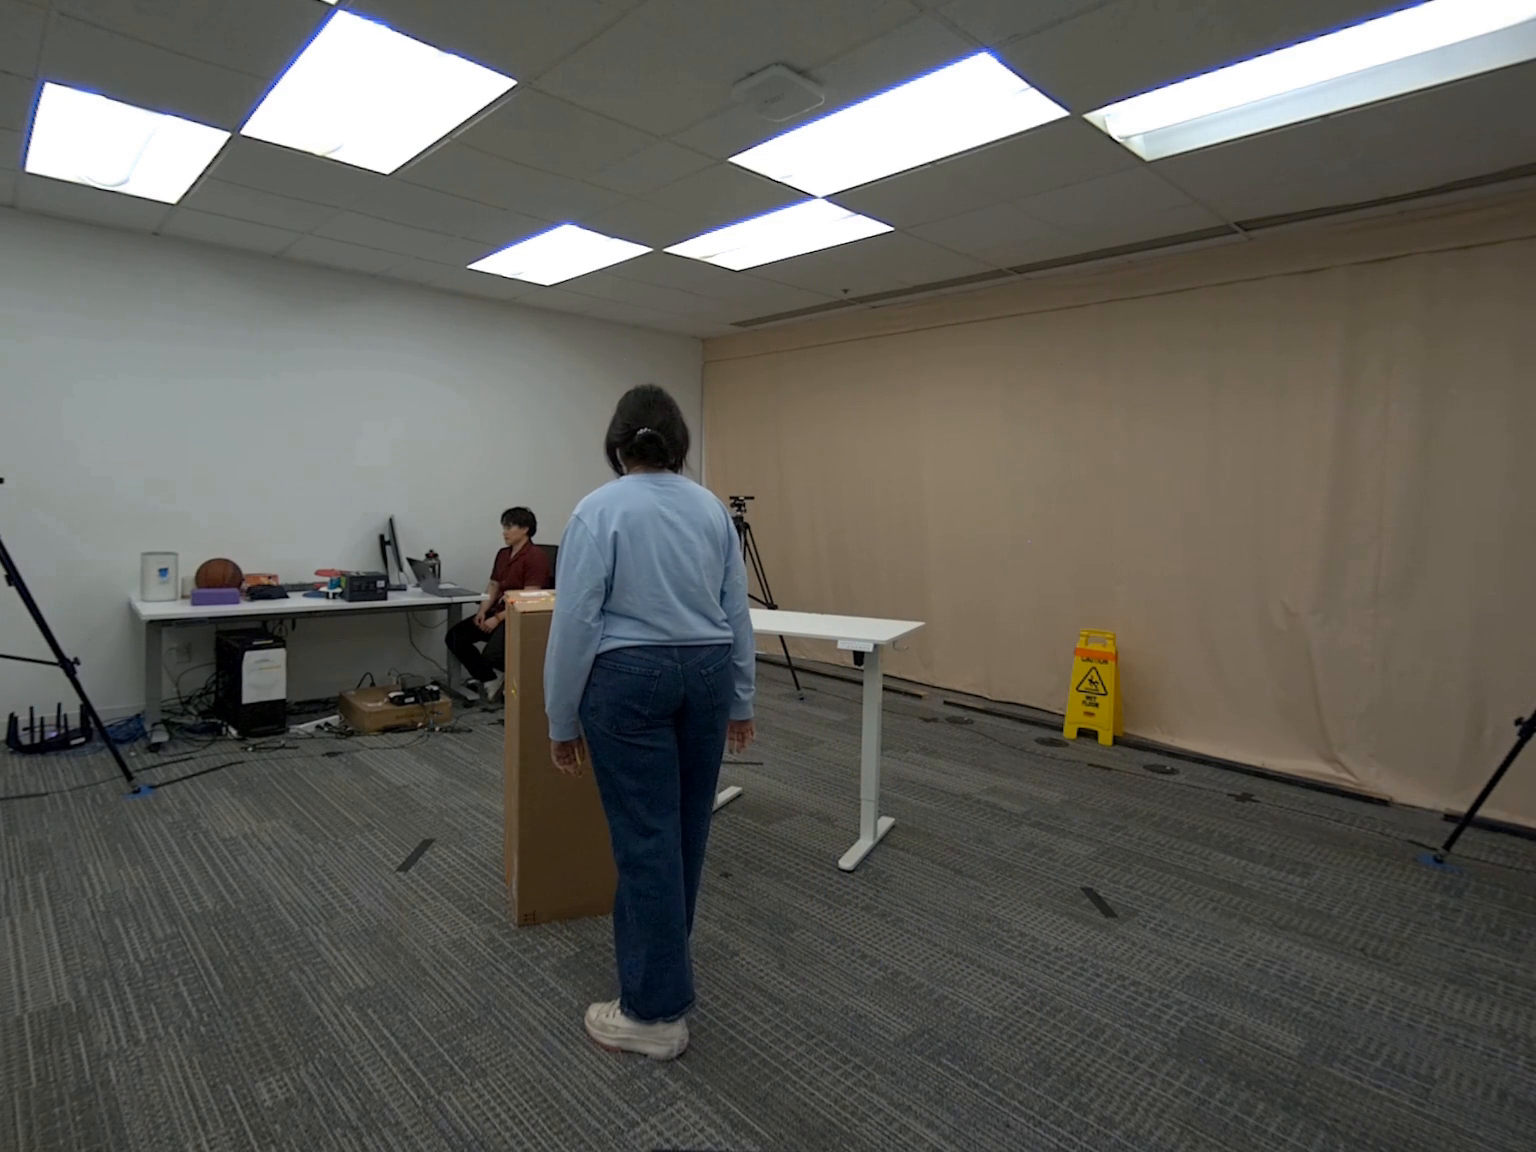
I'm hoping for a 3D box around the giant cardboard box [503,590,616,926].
[{"bbox_3d":[-0.713,0.591,3.010,0.419,1.023,0.588,0,4,-21],"label":"giant cardboard box"}]
